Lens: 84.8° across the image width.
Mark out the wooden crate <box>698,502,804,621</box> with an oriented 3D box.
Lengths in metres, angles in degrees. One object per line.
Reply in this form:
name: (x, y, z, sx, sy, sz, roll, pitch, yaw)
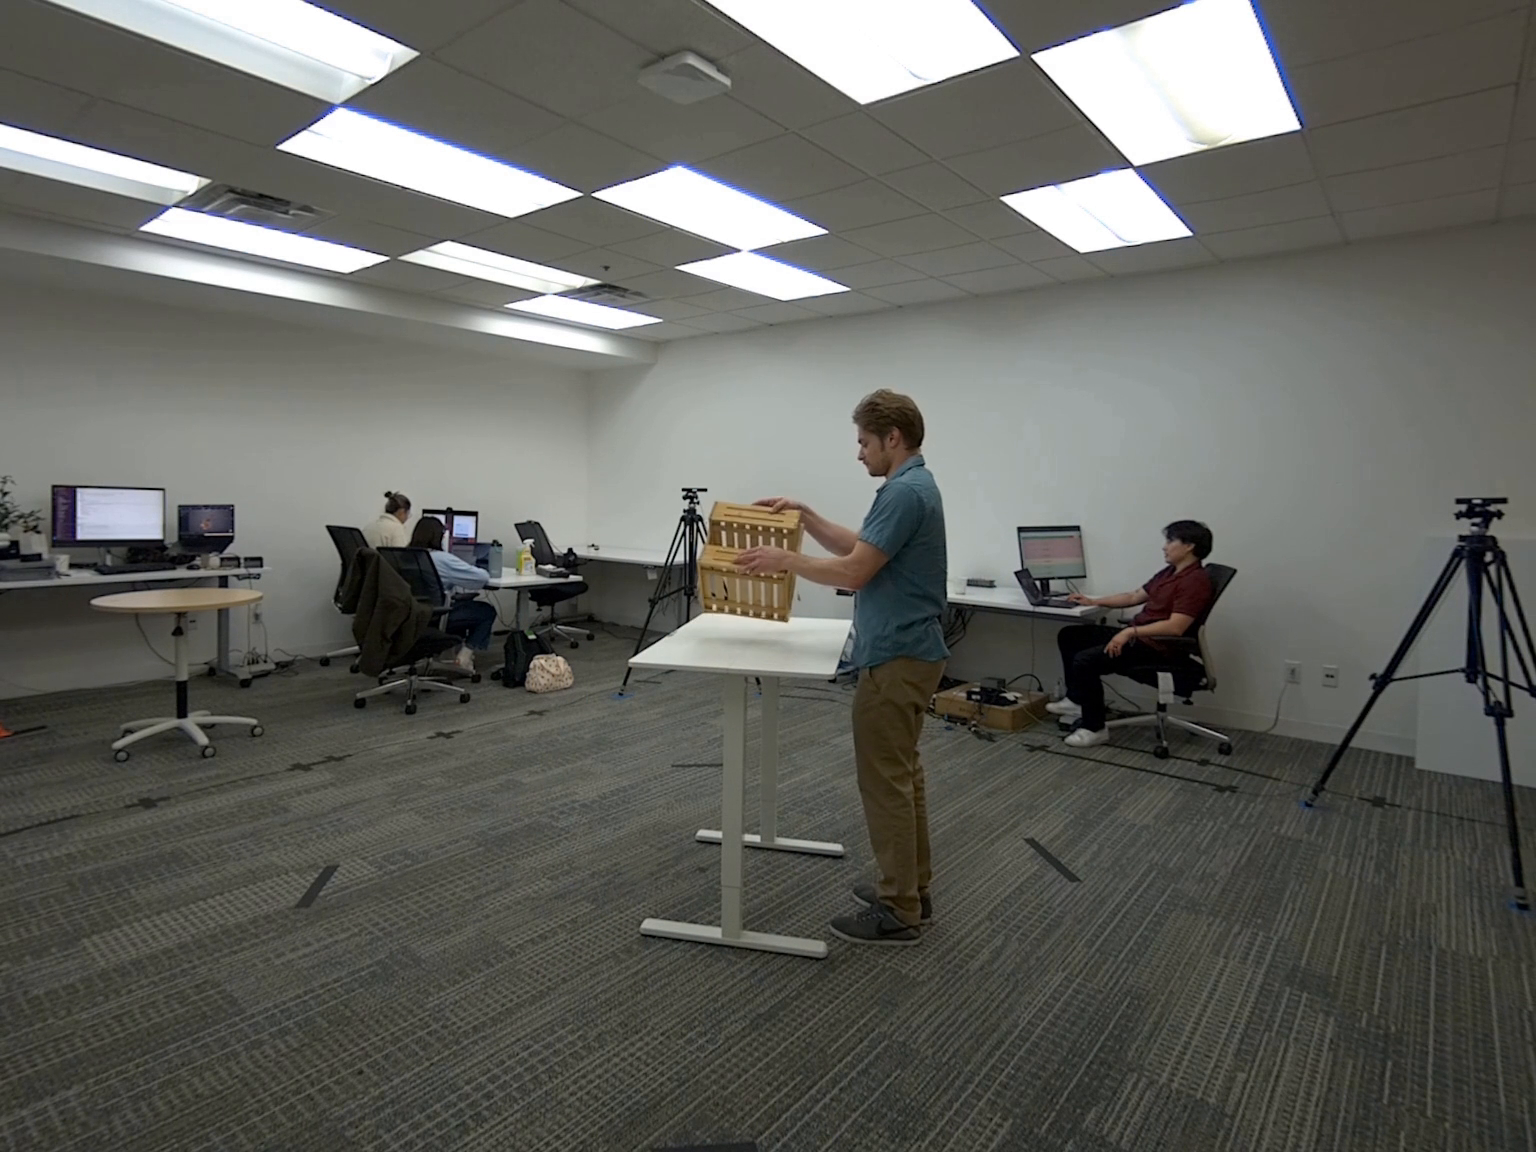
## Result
wooden crate: (-0.067, -0.036, 2.922, 0.329, 0.293, 0.278, 7, 45, 10)
